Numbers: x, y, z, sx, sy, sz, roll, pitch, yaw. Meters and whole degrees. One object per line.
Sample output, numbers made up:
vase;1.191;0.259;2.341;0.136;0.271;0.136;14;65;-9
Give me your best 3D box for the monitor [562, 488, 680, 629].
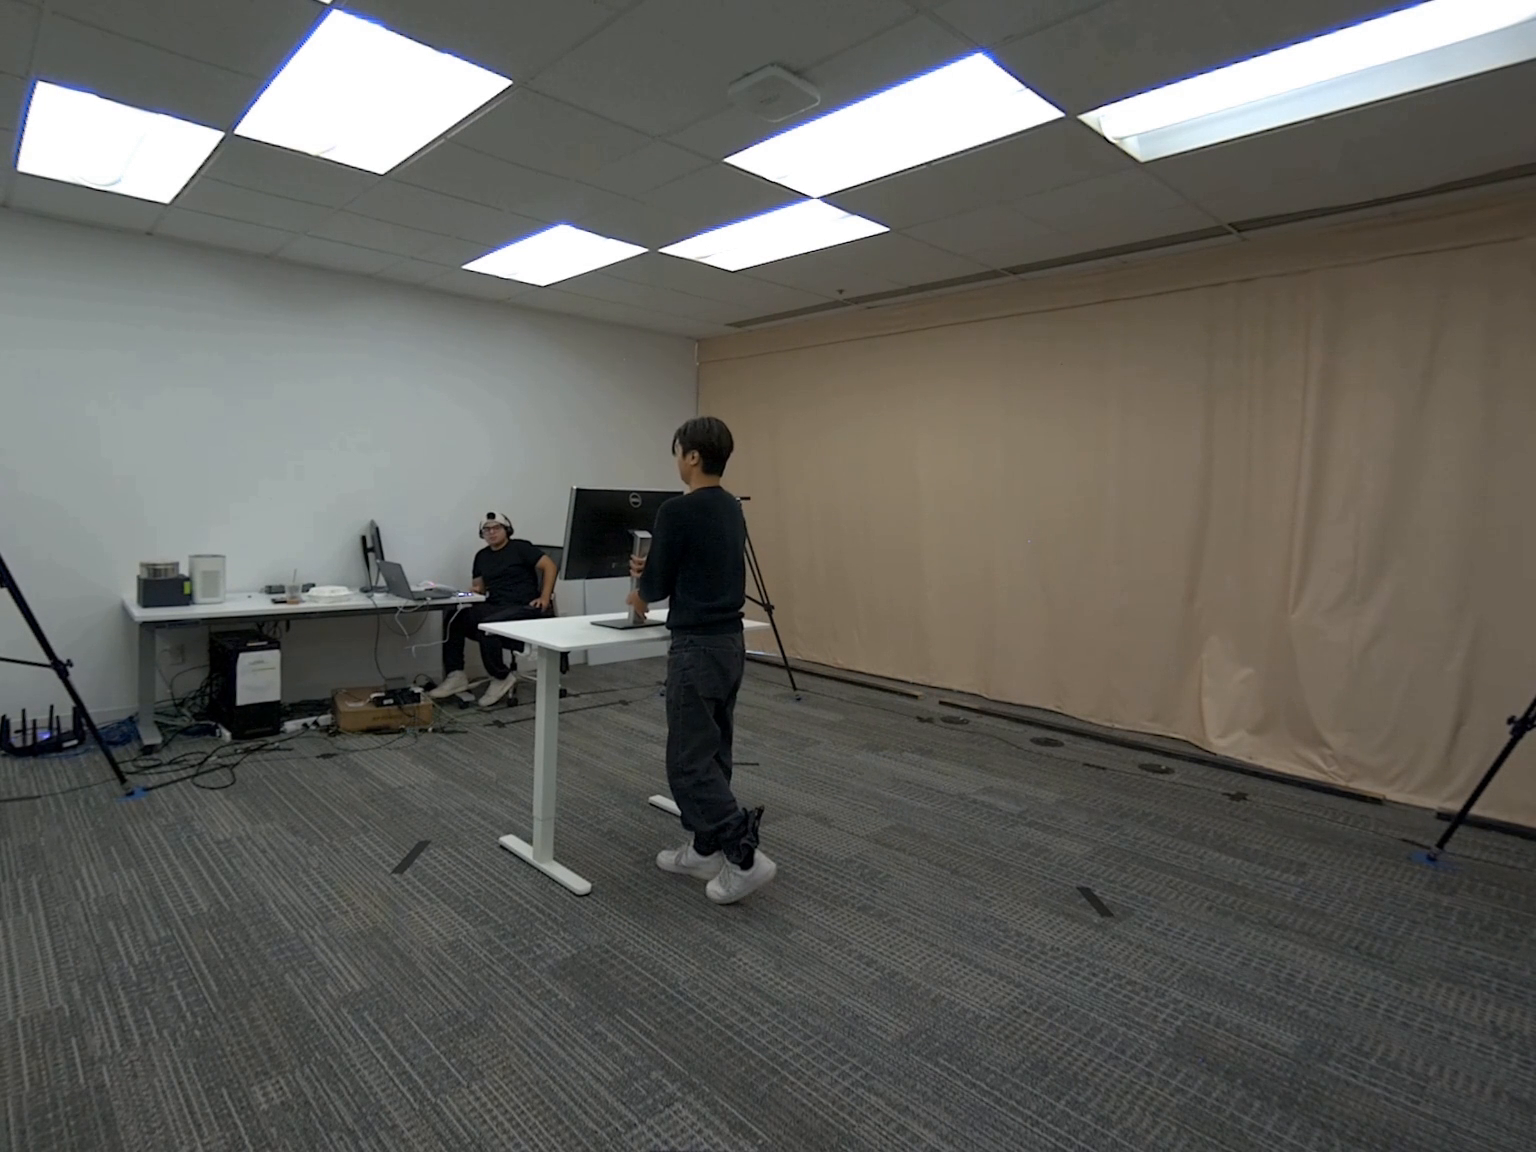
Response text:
monitor;-0.546;-0.072;3.329;0.192;0.521;0.527;2;4;40
